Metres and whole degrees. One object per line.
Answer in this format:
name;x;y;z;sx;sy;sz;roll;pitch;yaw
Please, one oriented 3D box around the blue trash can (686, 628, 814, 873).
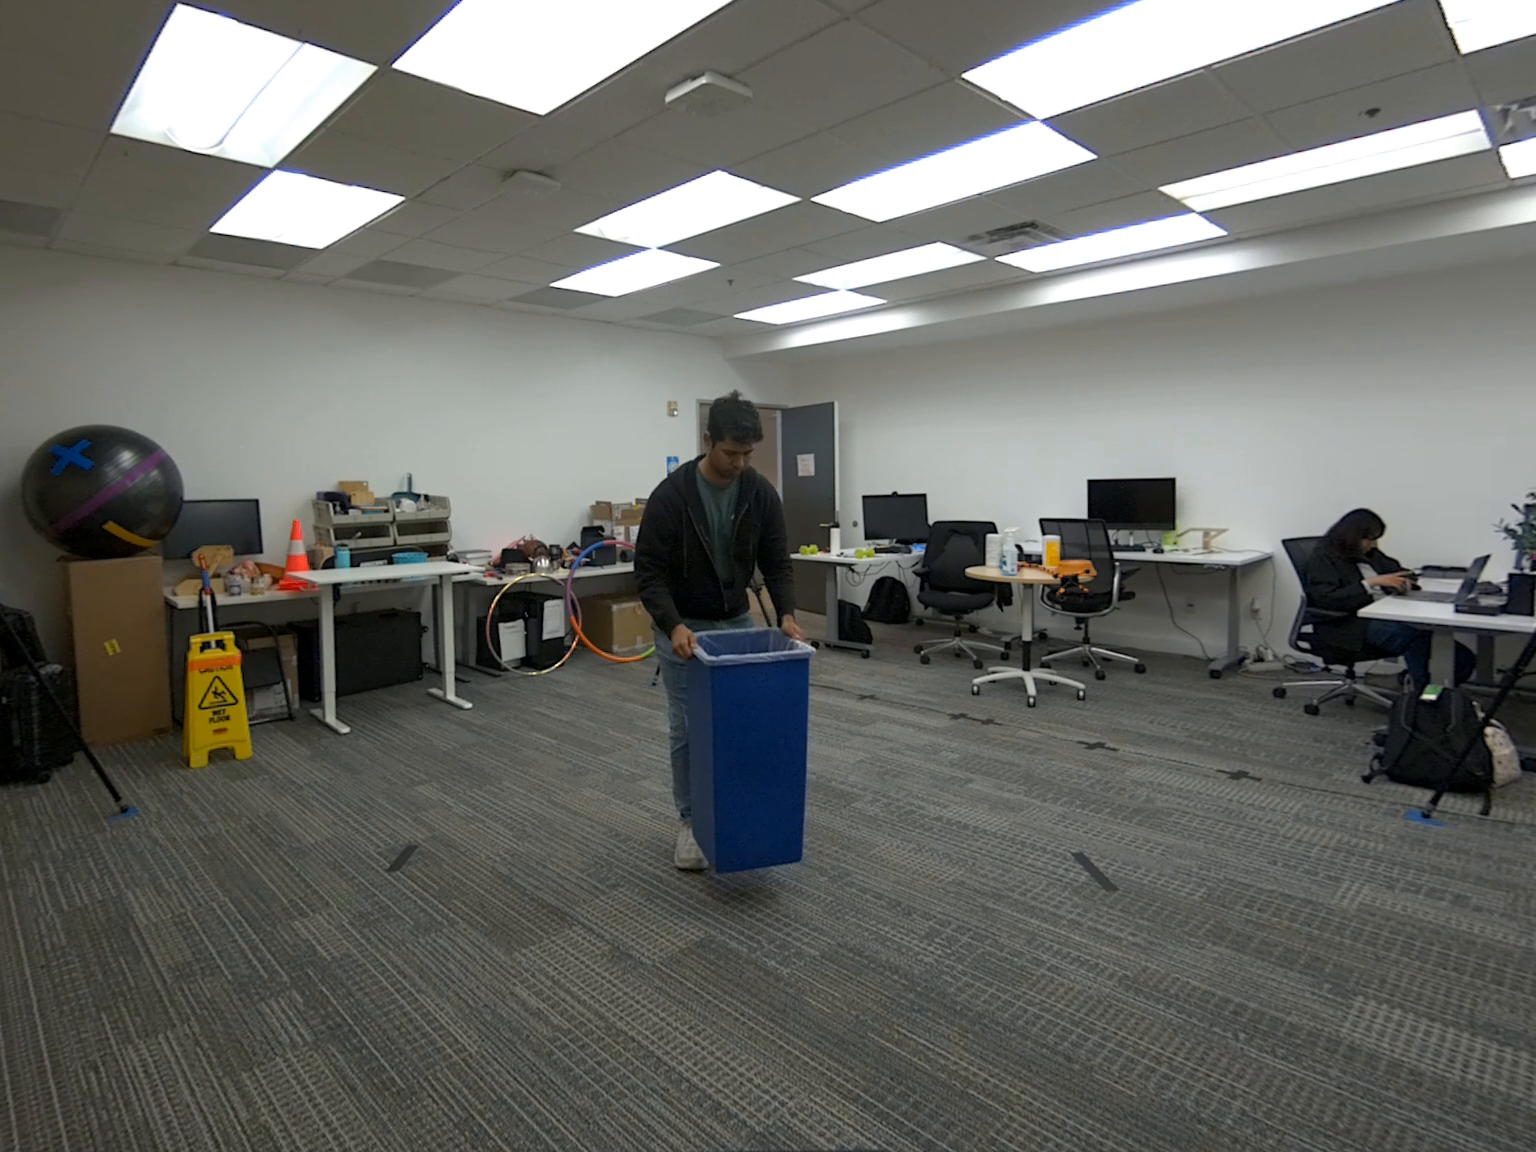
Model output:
blue trash can;-0.076;0.569;2.859;0.368;0.710;0.386;-2;6;-19
